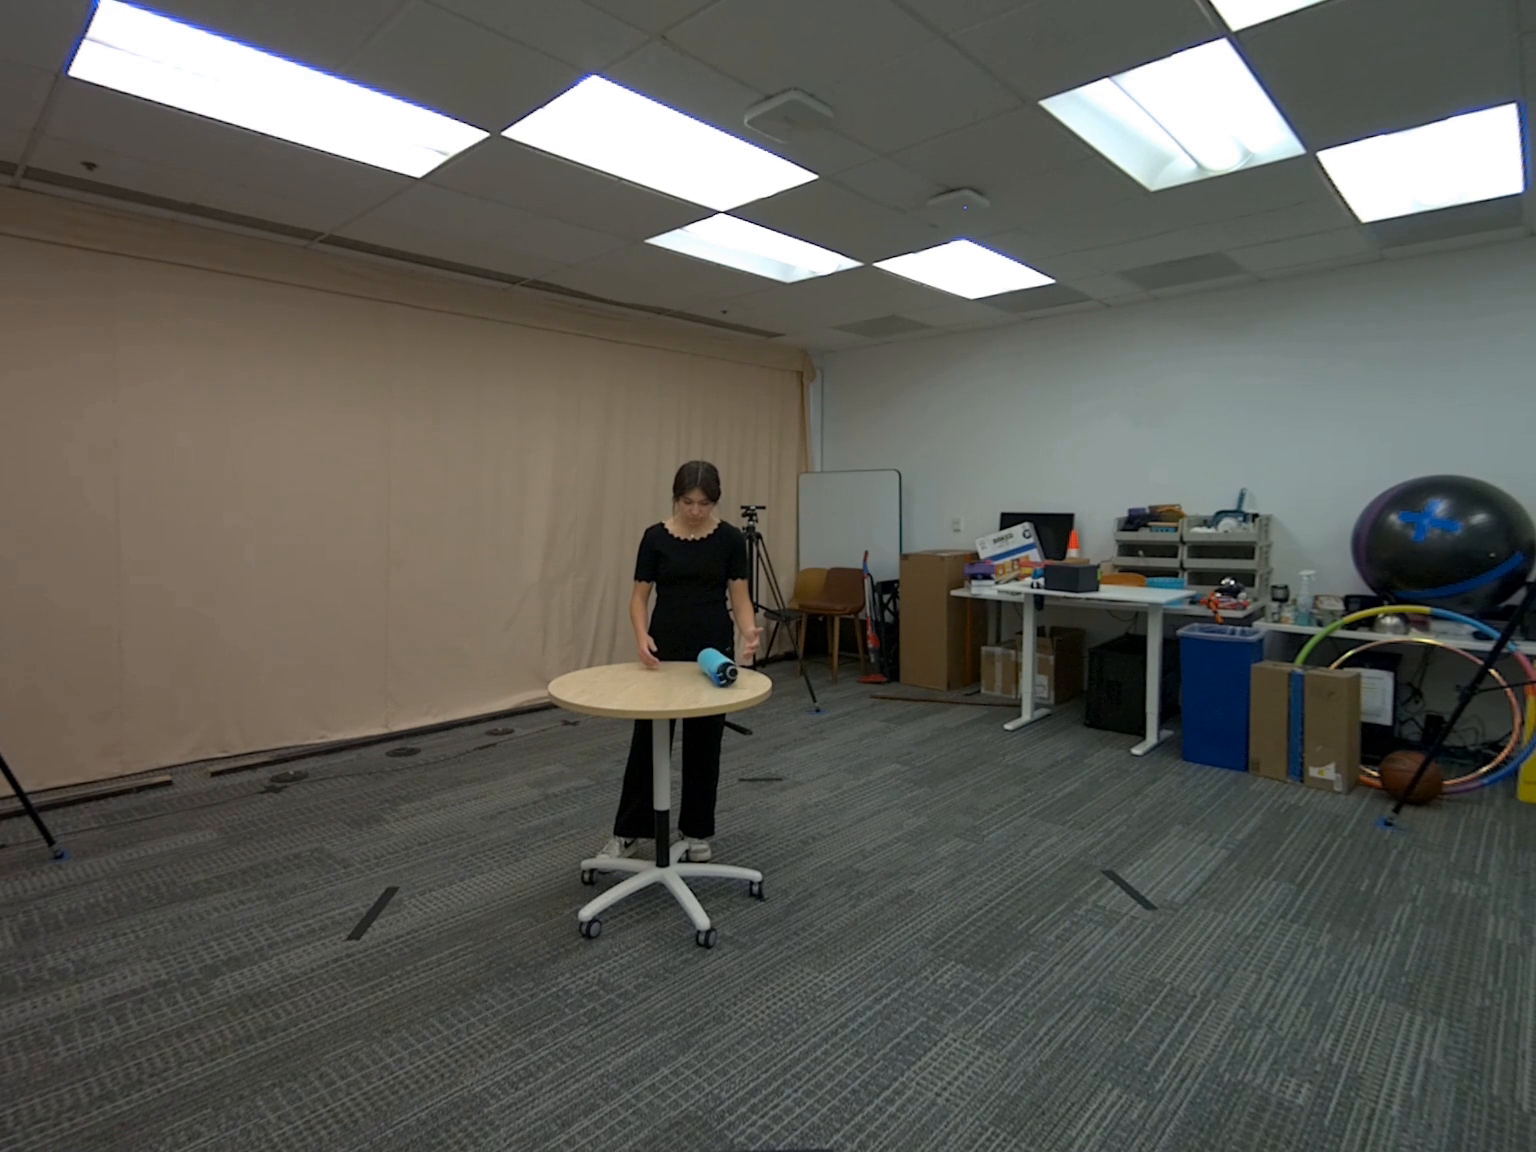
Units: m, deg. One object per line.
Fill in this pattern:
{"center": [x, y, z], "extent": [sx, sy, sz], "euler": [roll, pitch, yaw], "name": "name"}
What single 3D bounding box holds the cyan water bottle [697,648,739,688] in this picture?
{"center": [-0.168, 0.320, 2.933], "extent": [0.091, 0.092, 0.289], "euler": [-1, 5, -17], "name": "cyan water bottle"}
